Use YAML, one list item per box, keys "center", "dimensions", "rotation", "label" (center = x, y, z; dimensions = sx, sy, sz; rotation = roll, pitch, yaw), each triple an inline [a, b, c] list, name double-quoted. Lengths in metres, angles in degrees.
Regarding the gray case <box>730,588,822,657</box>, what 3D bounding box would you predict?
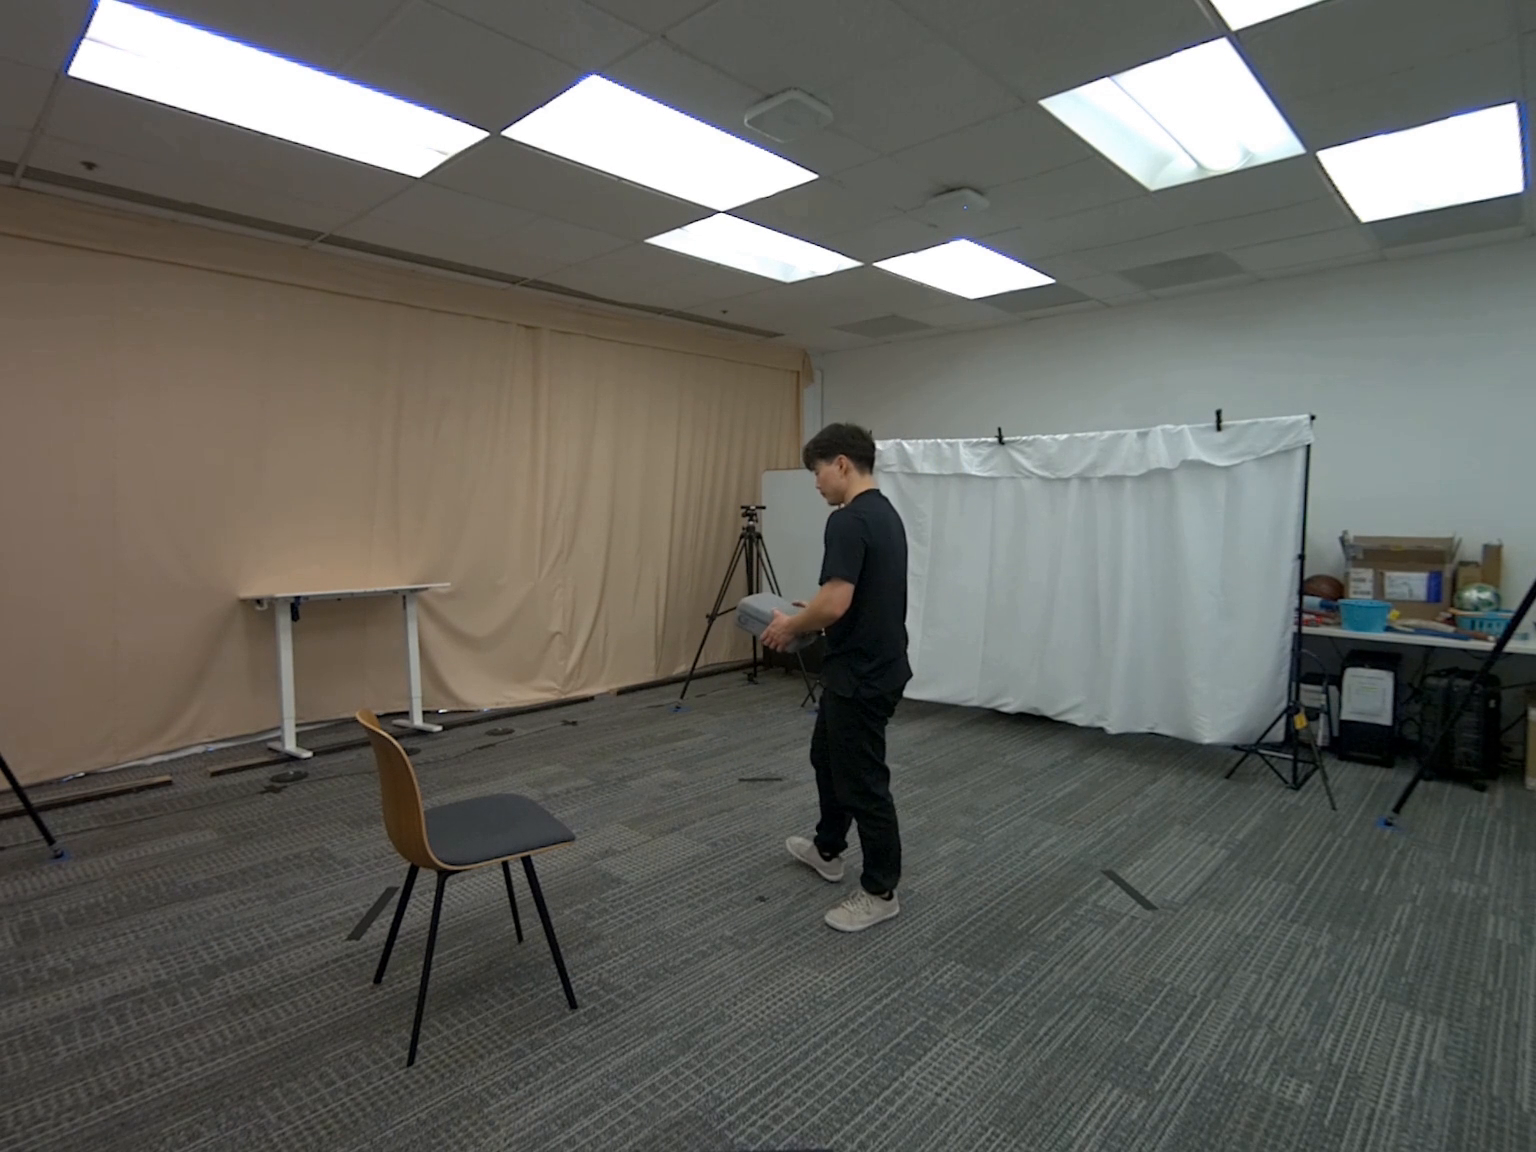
- center: [0.042, 0.154, 2.955]
  dimensions: [0.266, 0.104, 0.252]
  rotation: [23, 13, 17]
  label: "gray case"
